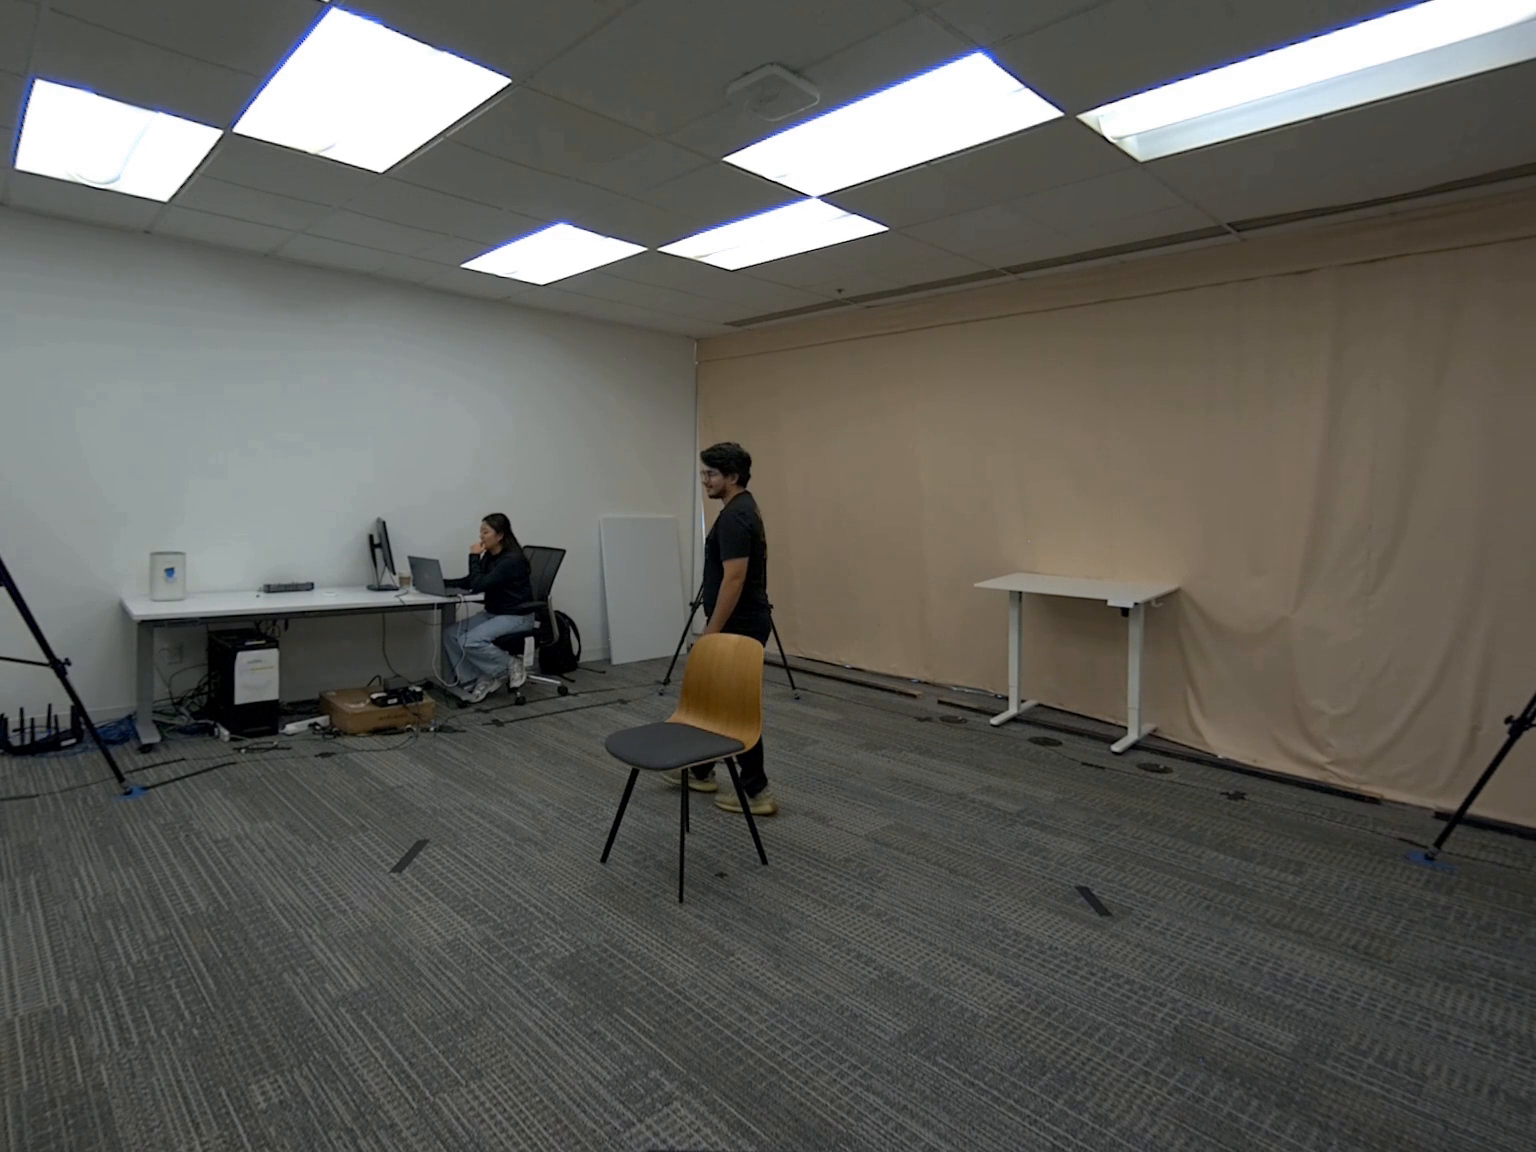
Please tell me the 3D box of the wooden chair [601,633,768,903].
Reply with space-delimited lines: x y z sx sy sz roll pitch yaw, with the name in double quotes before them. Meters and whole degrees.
"wooden chair" -0.317 0.669 3.156 0.490 0.877 0.510 5 0 43
